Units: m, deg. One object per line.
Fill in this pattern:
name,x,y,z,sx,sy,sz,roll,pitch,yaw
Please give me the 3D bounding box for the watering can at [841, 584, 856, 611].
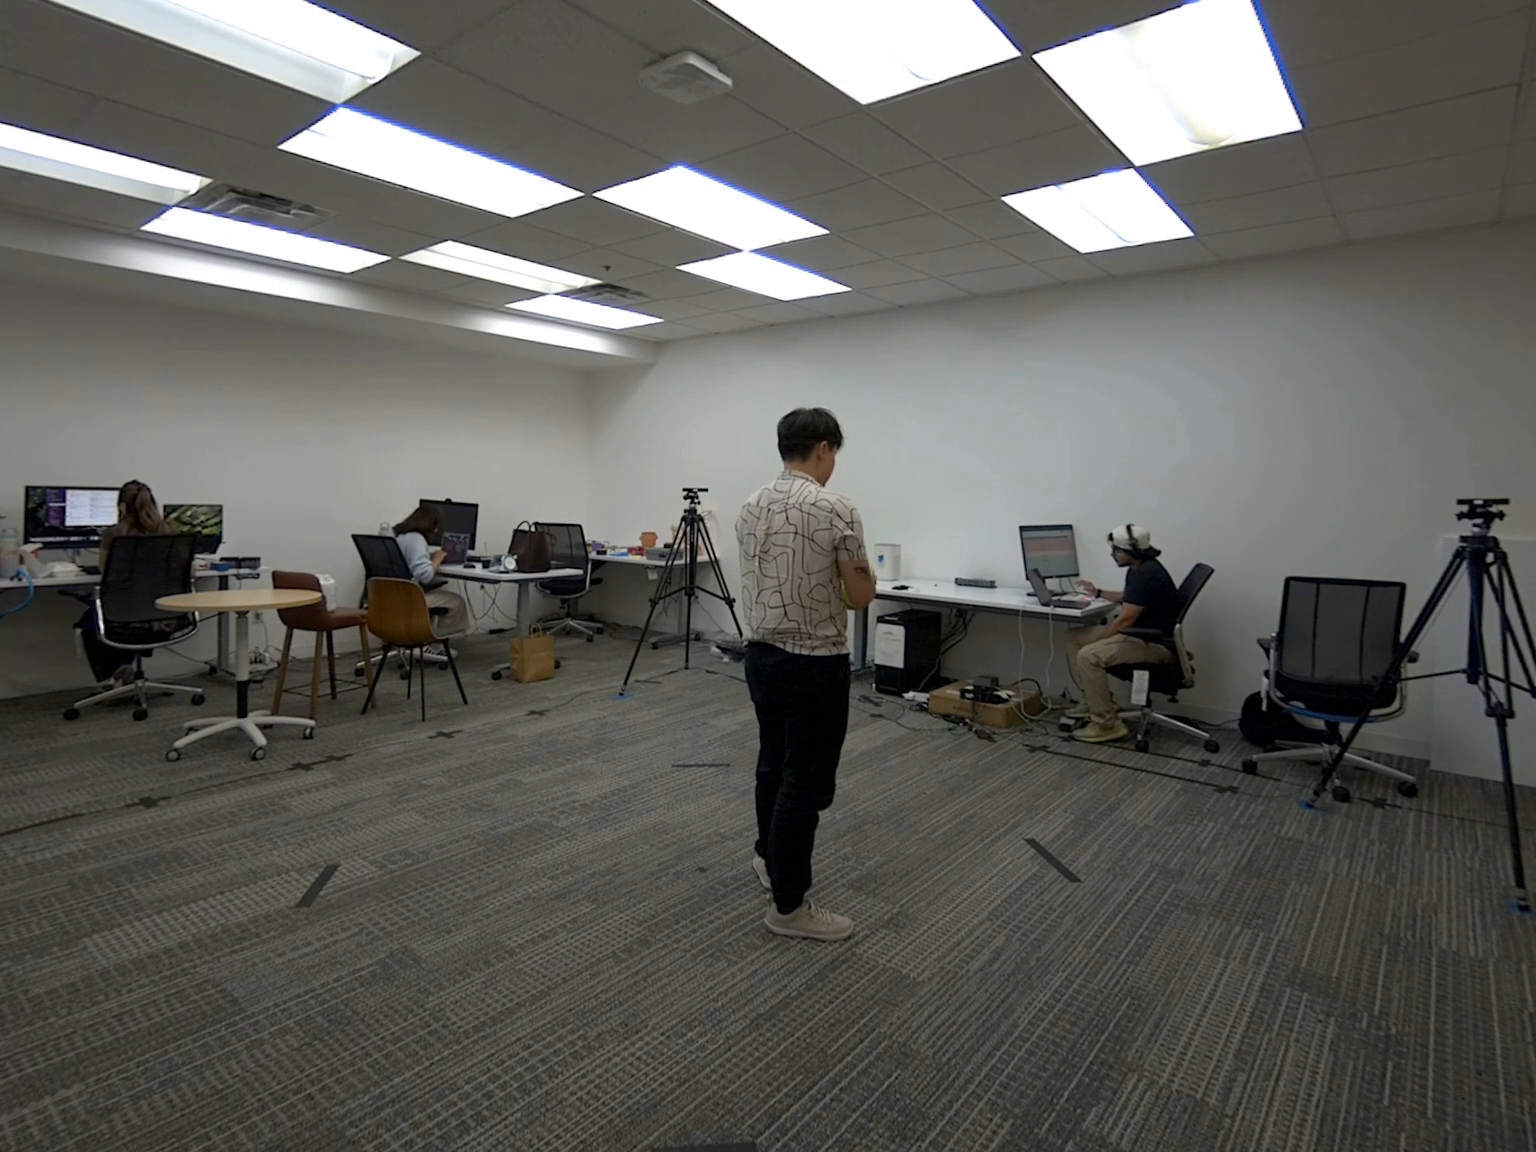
watering can,0.322,0.025,3.075,0.100,0.180,0.267,-12,-39,31
